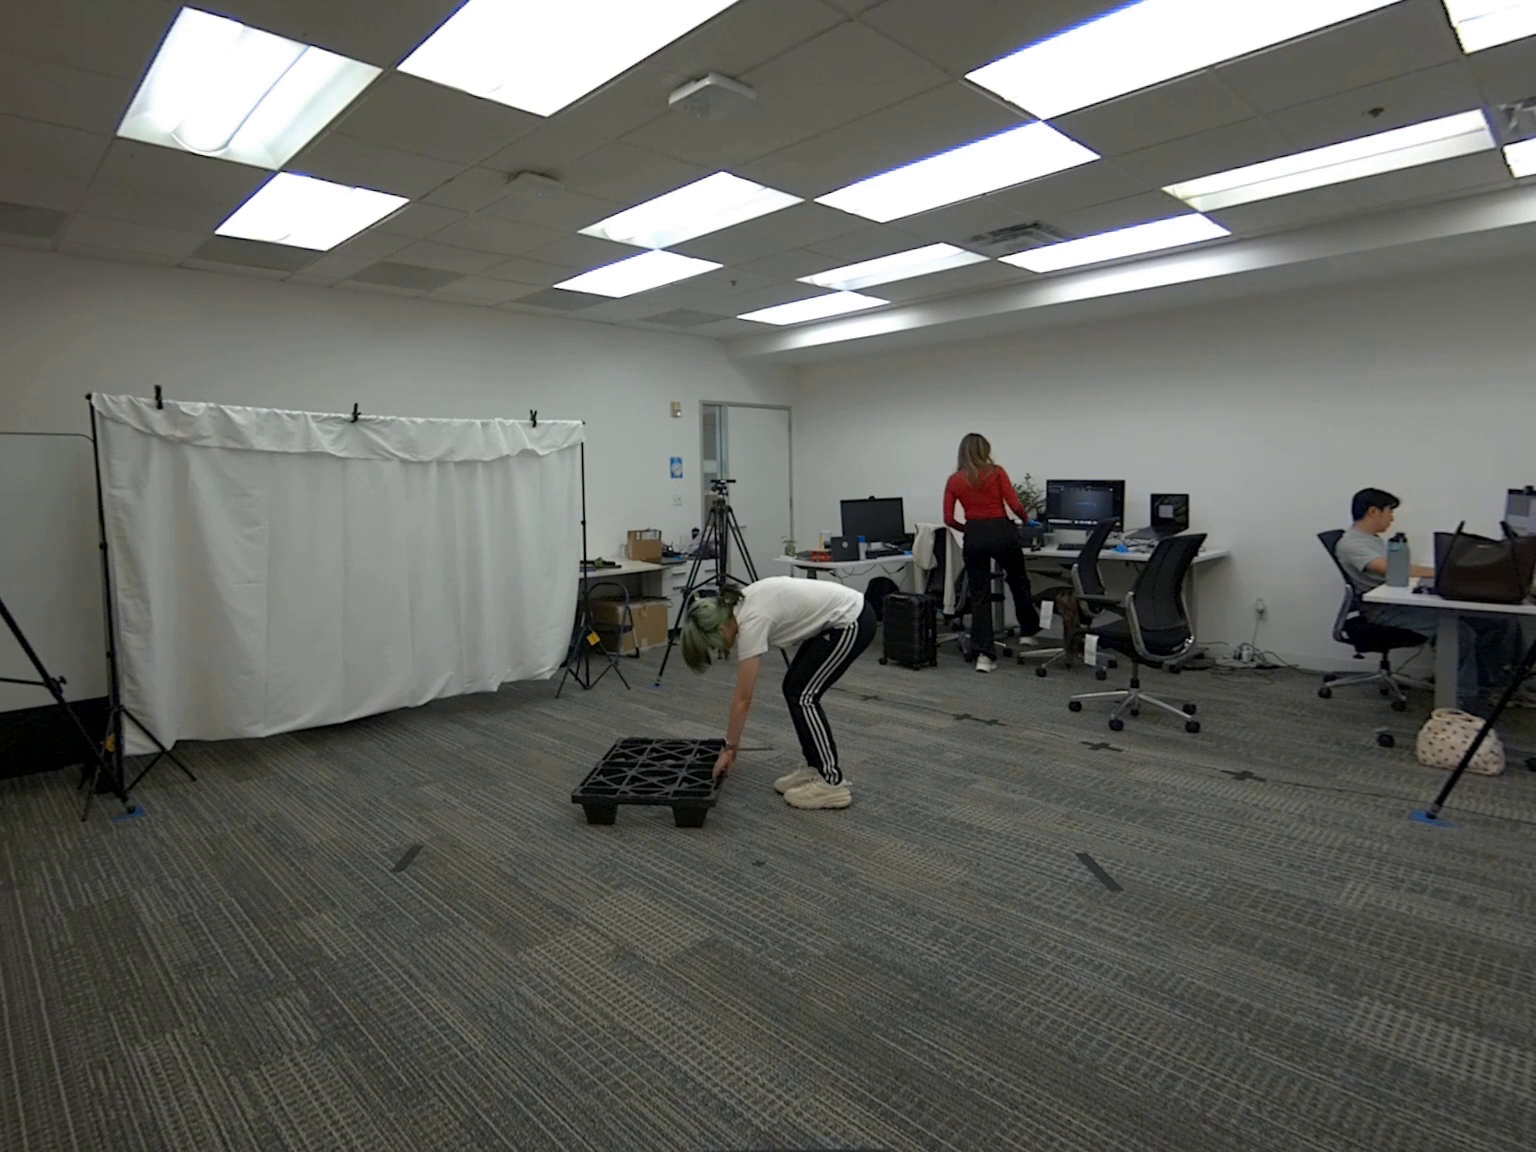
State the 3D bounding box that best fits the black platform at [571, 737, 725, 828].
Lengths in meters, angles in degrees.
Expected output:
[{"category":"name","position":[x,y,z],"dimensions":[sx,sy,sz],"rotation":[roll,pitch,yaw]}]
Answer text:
[{"category":"black platform","position":[-0.472,0.907,3.822],"dimensions":[0.609,0.143,0.803],"rotation":[-2,6,6]}]
